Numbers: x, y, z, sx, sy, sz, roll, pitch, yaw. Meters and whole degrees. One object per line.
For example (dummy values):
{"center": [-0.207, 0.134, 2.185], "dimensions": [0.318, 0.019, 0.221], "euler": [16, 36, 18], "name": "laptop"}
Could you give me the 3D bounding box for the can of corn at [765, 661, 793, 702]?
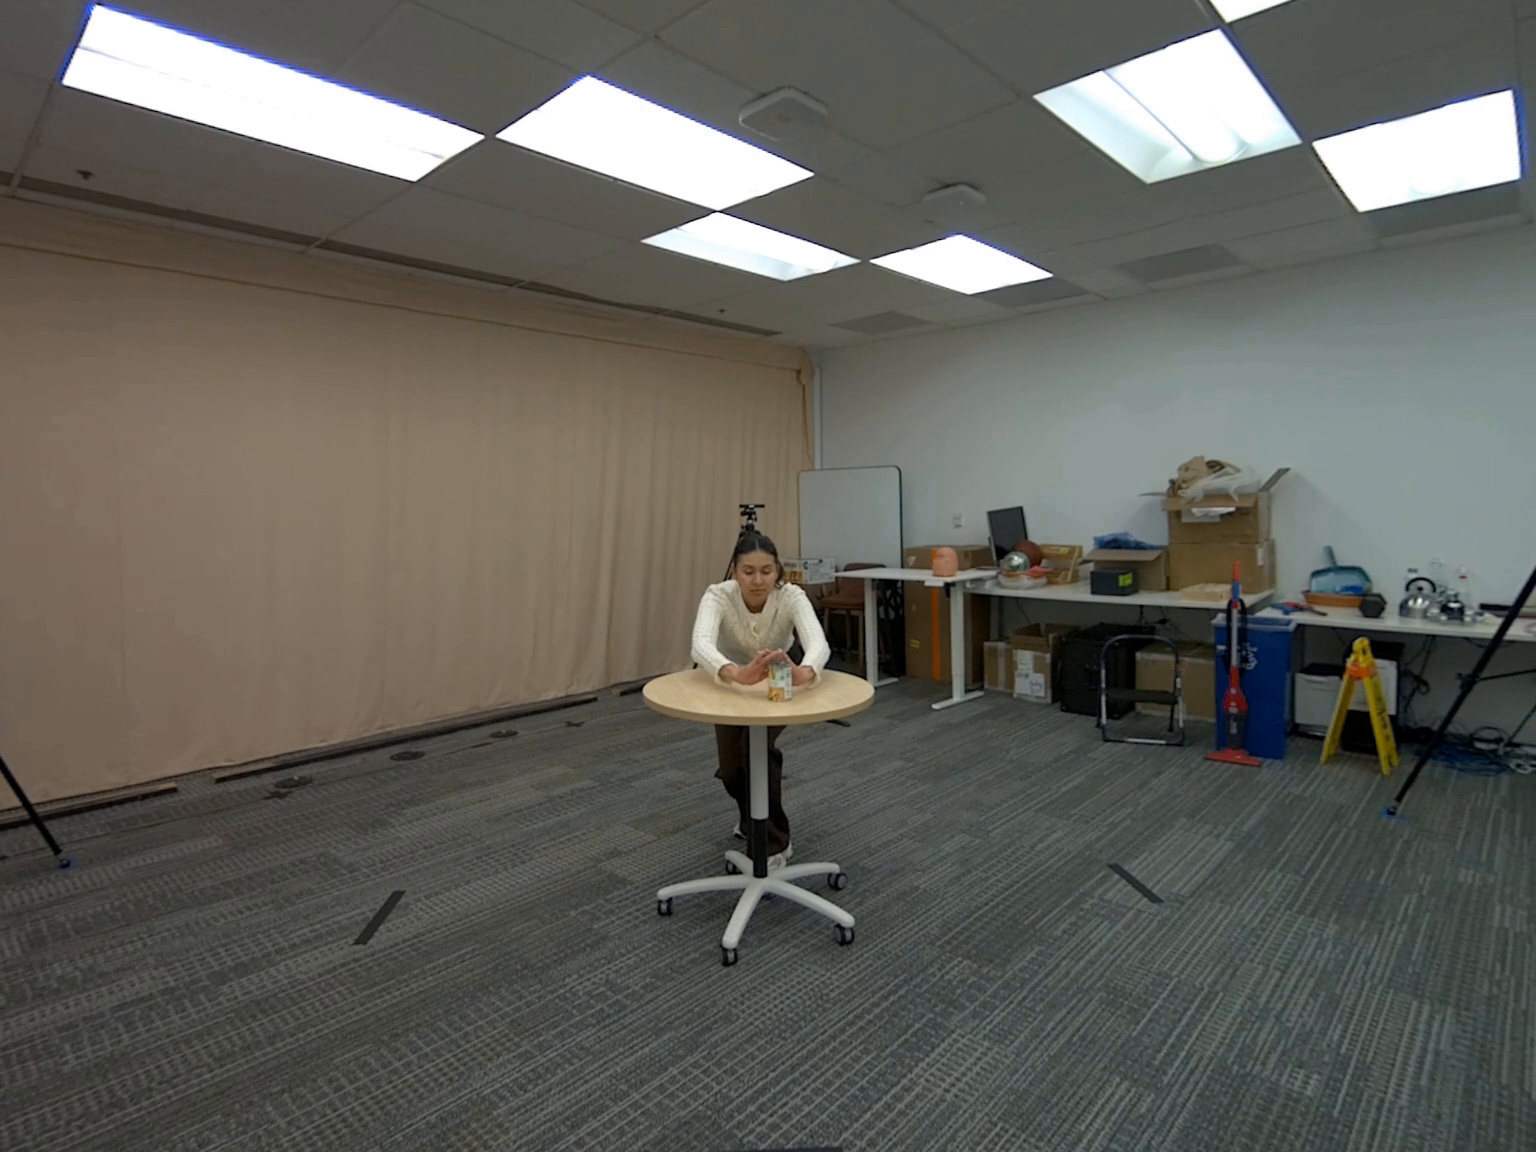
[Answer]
{"center": [0.034, 0.331, 2.634], "dimensions": [0.074, 0.111, 0.074], "euler": [-2, 3, -2], "name": "can of corn"}
